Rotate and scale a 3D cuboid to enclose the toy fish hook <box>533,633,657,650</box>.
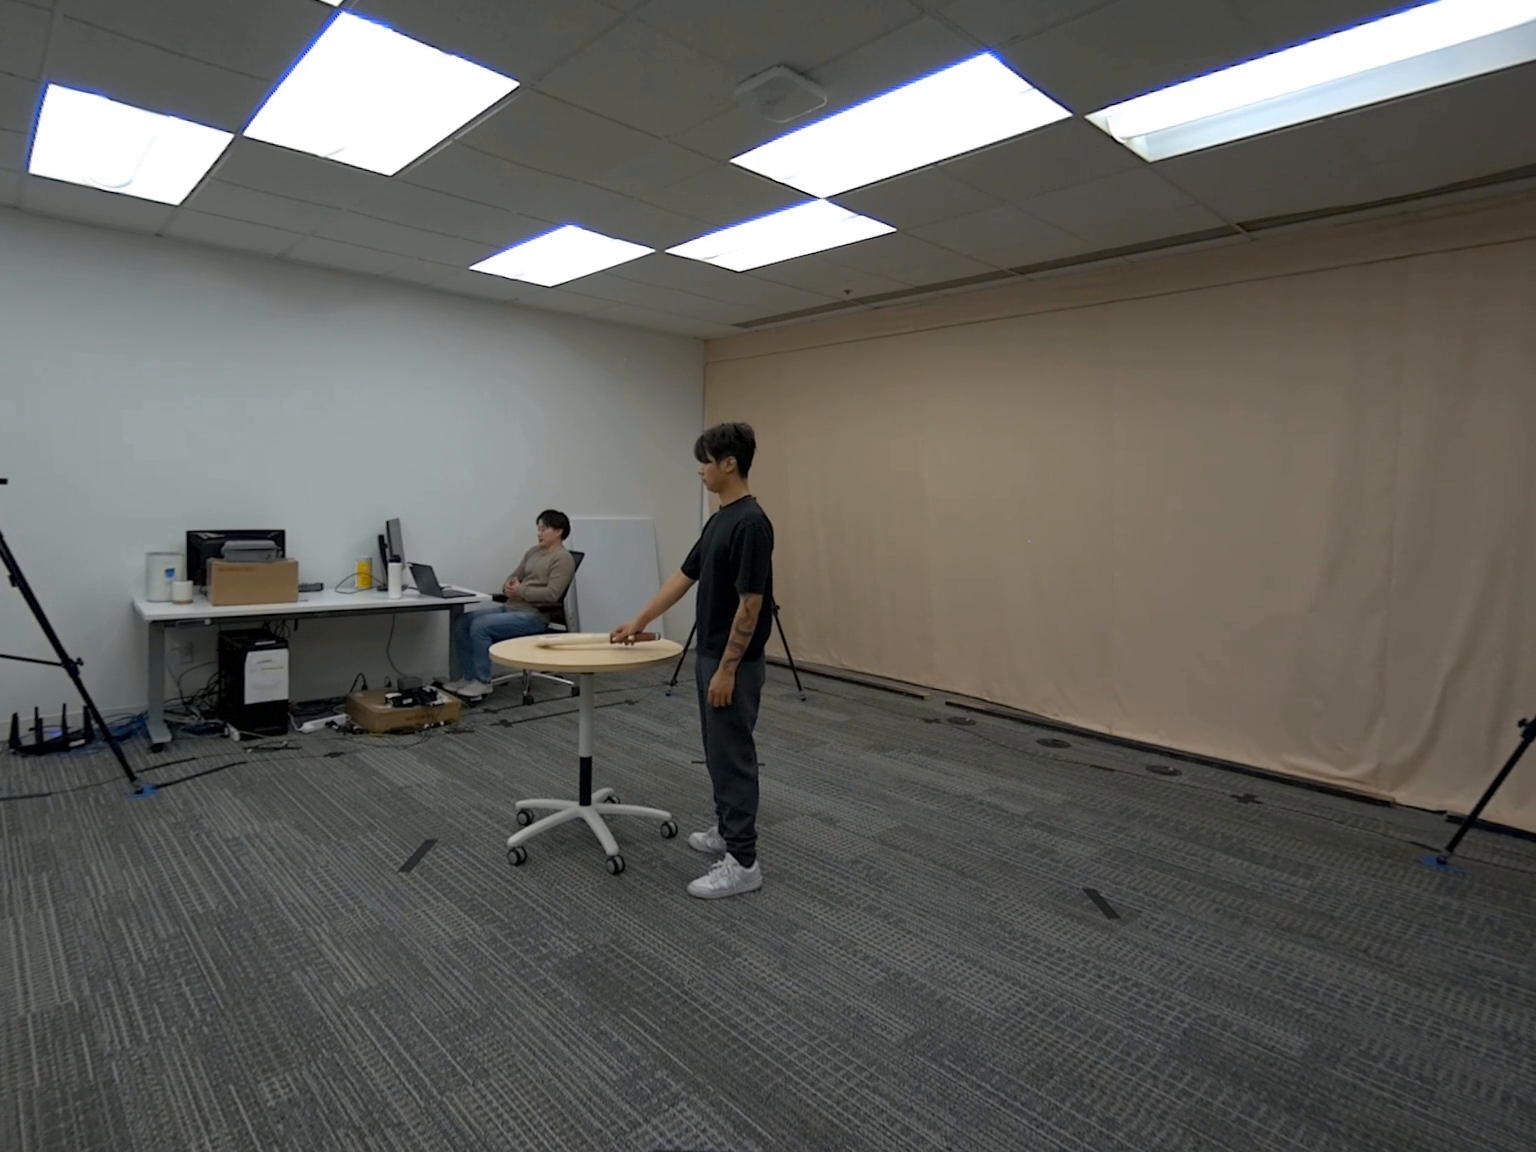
[{"bbox_3d":[-0.687,0.244,3.407,0.507,0.048,0.225,-1,2,0],"label":"toy fish hook"}]
